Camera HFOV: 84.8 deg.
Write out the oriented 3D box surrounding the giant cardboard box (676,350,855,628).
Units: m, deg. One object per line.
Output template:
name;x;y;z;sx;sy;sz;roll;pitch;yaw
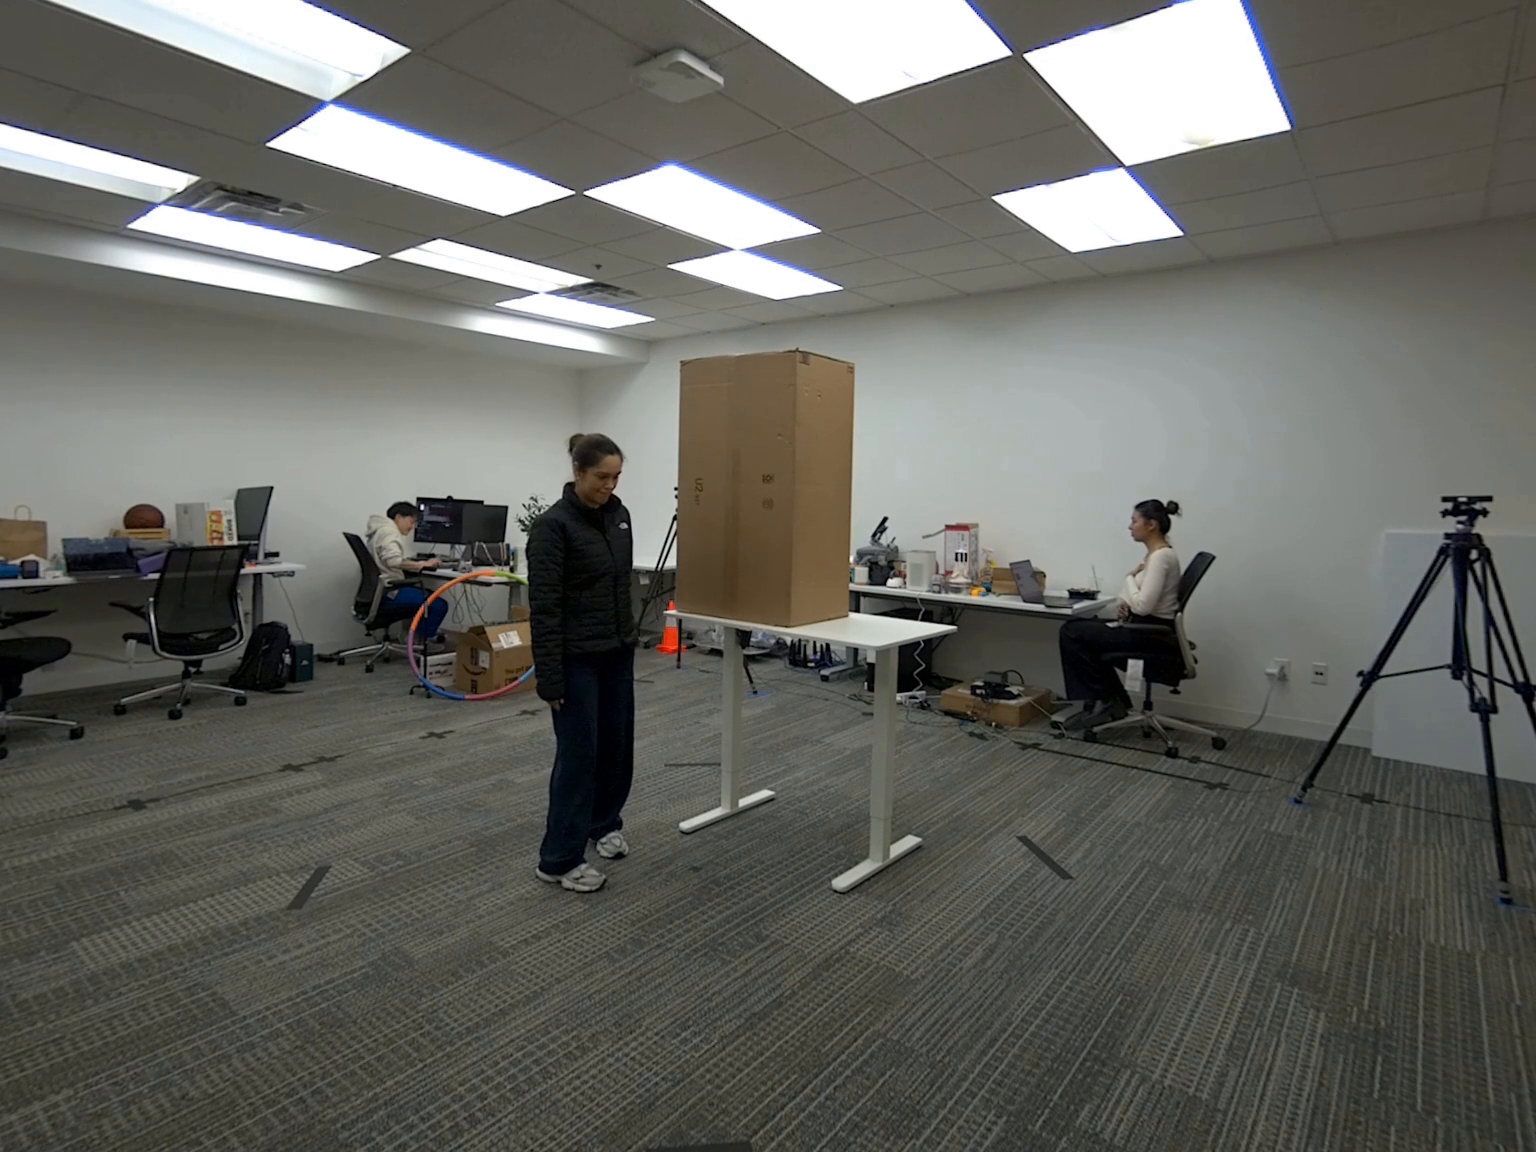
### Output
giant cardboard box;0.003;-0.355;3.457;0.597;1.023;0.413;4;4;38
